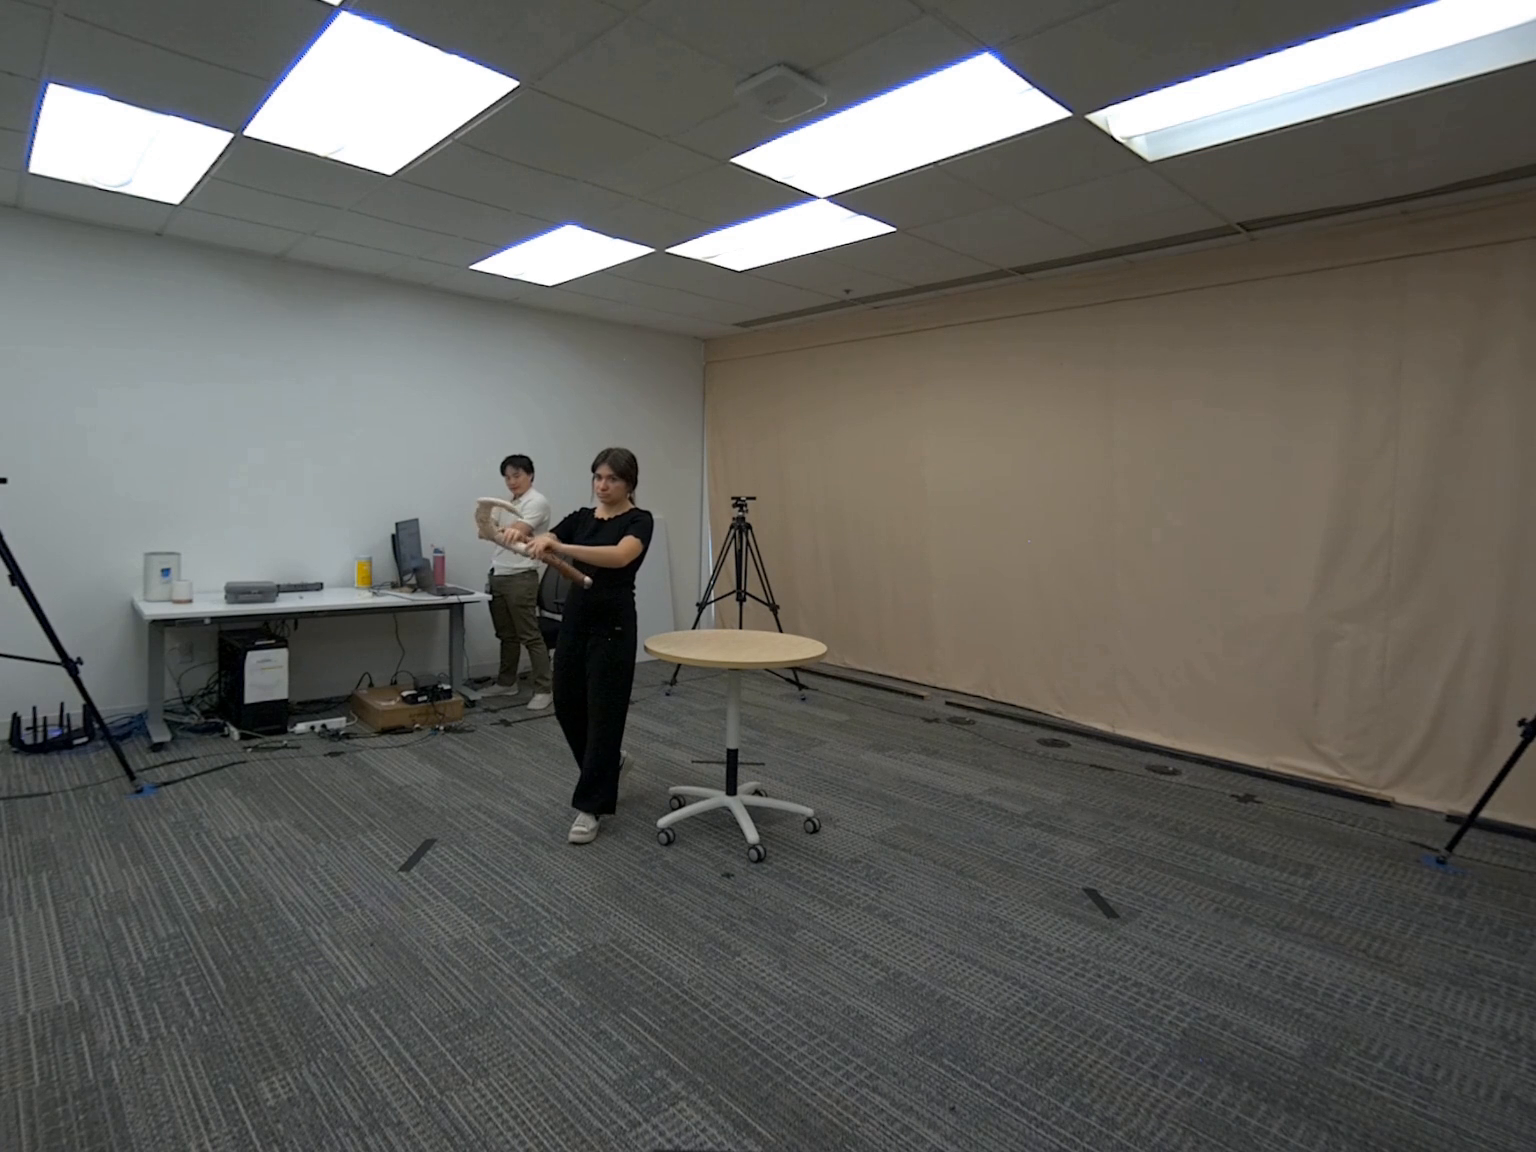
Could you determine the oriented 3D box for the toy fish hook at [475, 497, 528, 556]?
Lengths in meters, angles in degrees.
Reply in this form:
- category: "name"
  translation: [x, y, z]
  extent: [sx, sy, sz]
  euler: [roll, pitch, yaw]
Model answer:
- category: "toy fish hook"
  translation: [-0.884, -0.126, 3.080]
  extent: [0.508, 0.222, 0.048]
  euler: [29, 46, 3]
